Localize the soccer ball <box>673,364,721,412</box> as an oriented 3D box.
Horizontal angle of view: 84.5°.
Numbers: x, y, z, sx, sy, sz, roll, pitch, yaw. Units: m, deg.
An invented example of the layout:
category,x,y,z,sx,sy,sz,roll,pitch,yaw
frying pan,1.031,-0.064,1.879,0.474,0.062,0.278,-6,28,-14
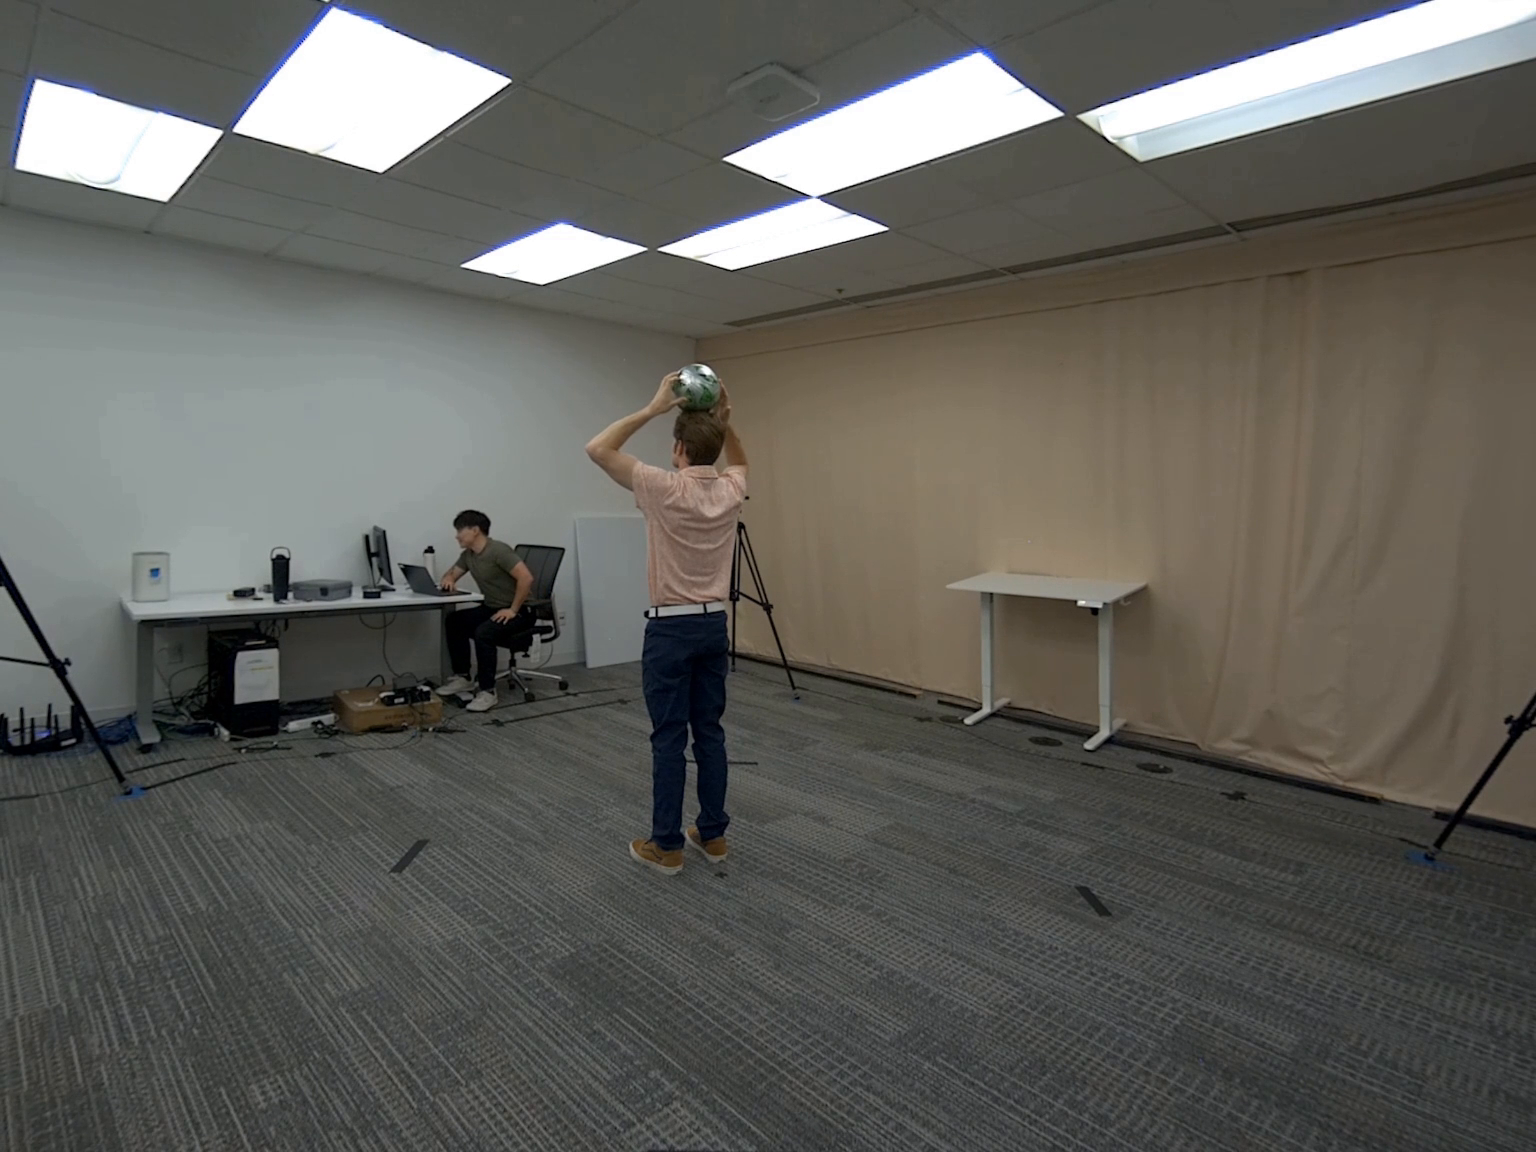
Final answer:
category,x,y,z,sx,sy,sz,roll,pitch,yaw
soccer ball,-0.279,-0.697,3.154,0.187,0.187,0.188,1,4,-1
